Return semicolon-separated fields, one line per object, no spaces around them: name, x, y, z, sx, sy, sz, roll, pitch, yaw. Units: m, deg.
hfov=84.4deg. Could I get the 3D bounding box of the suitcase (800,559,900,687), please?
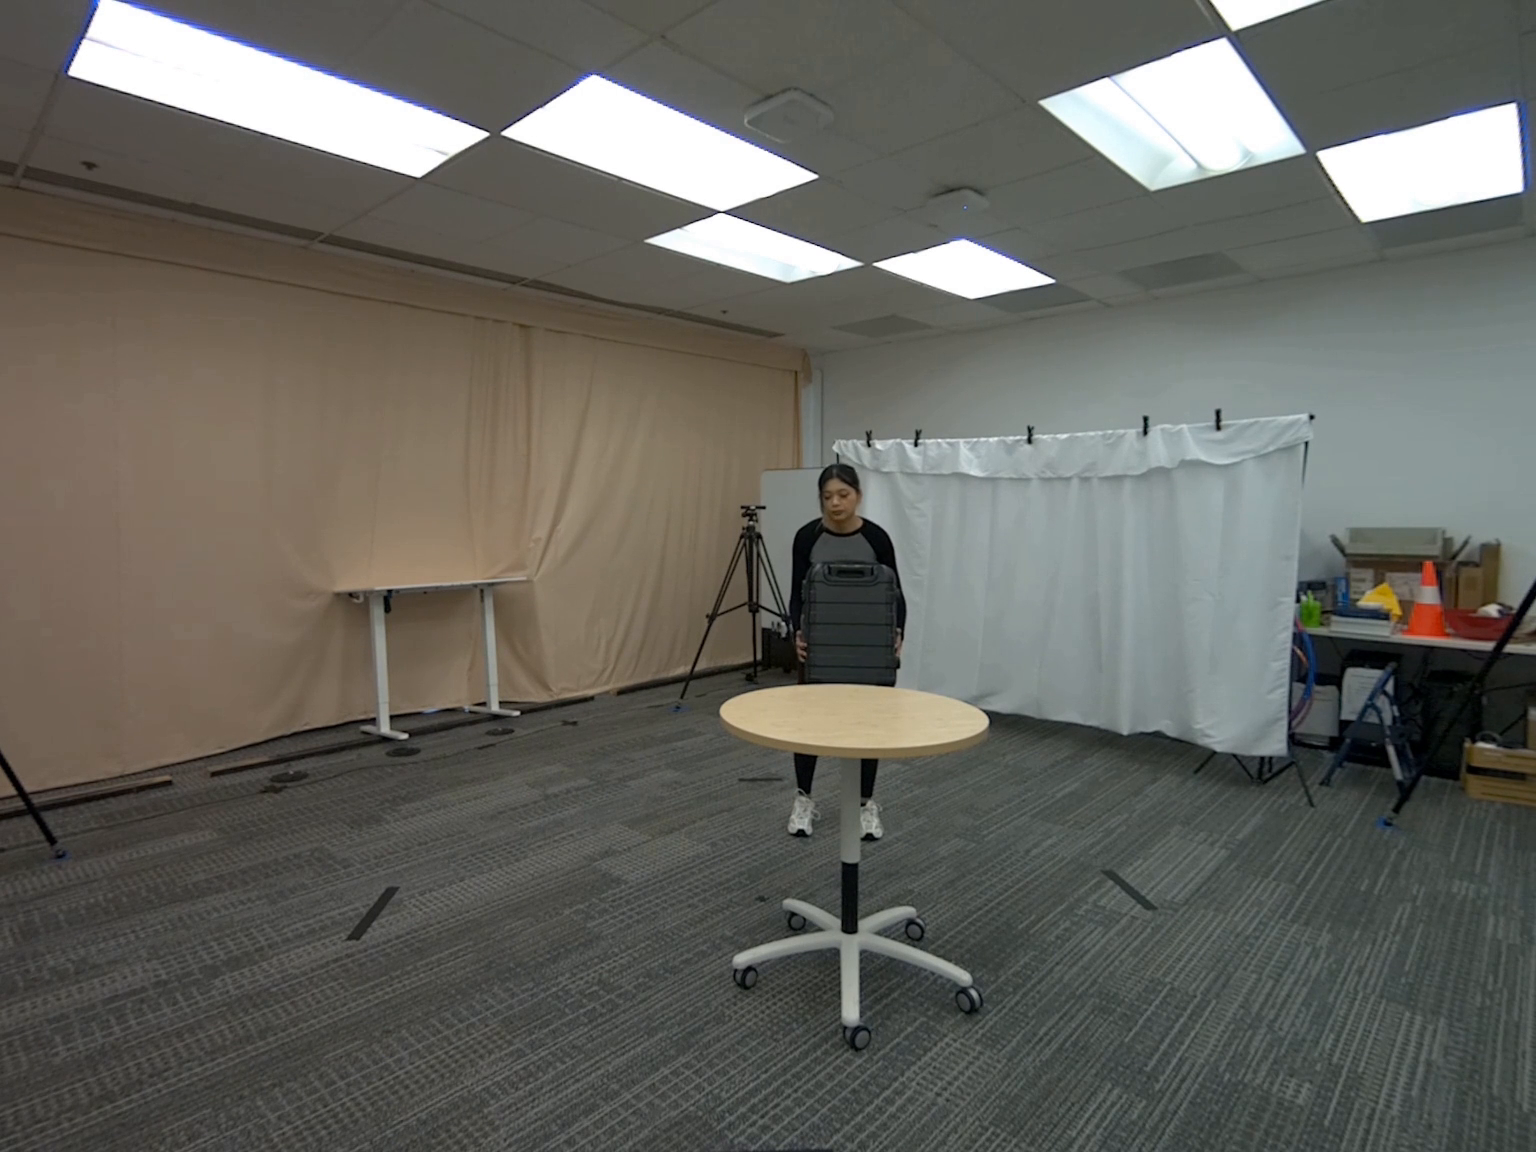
suitcase;0.325;0.212;3.315;0.380;0.550;0.245;-1;-1;10
